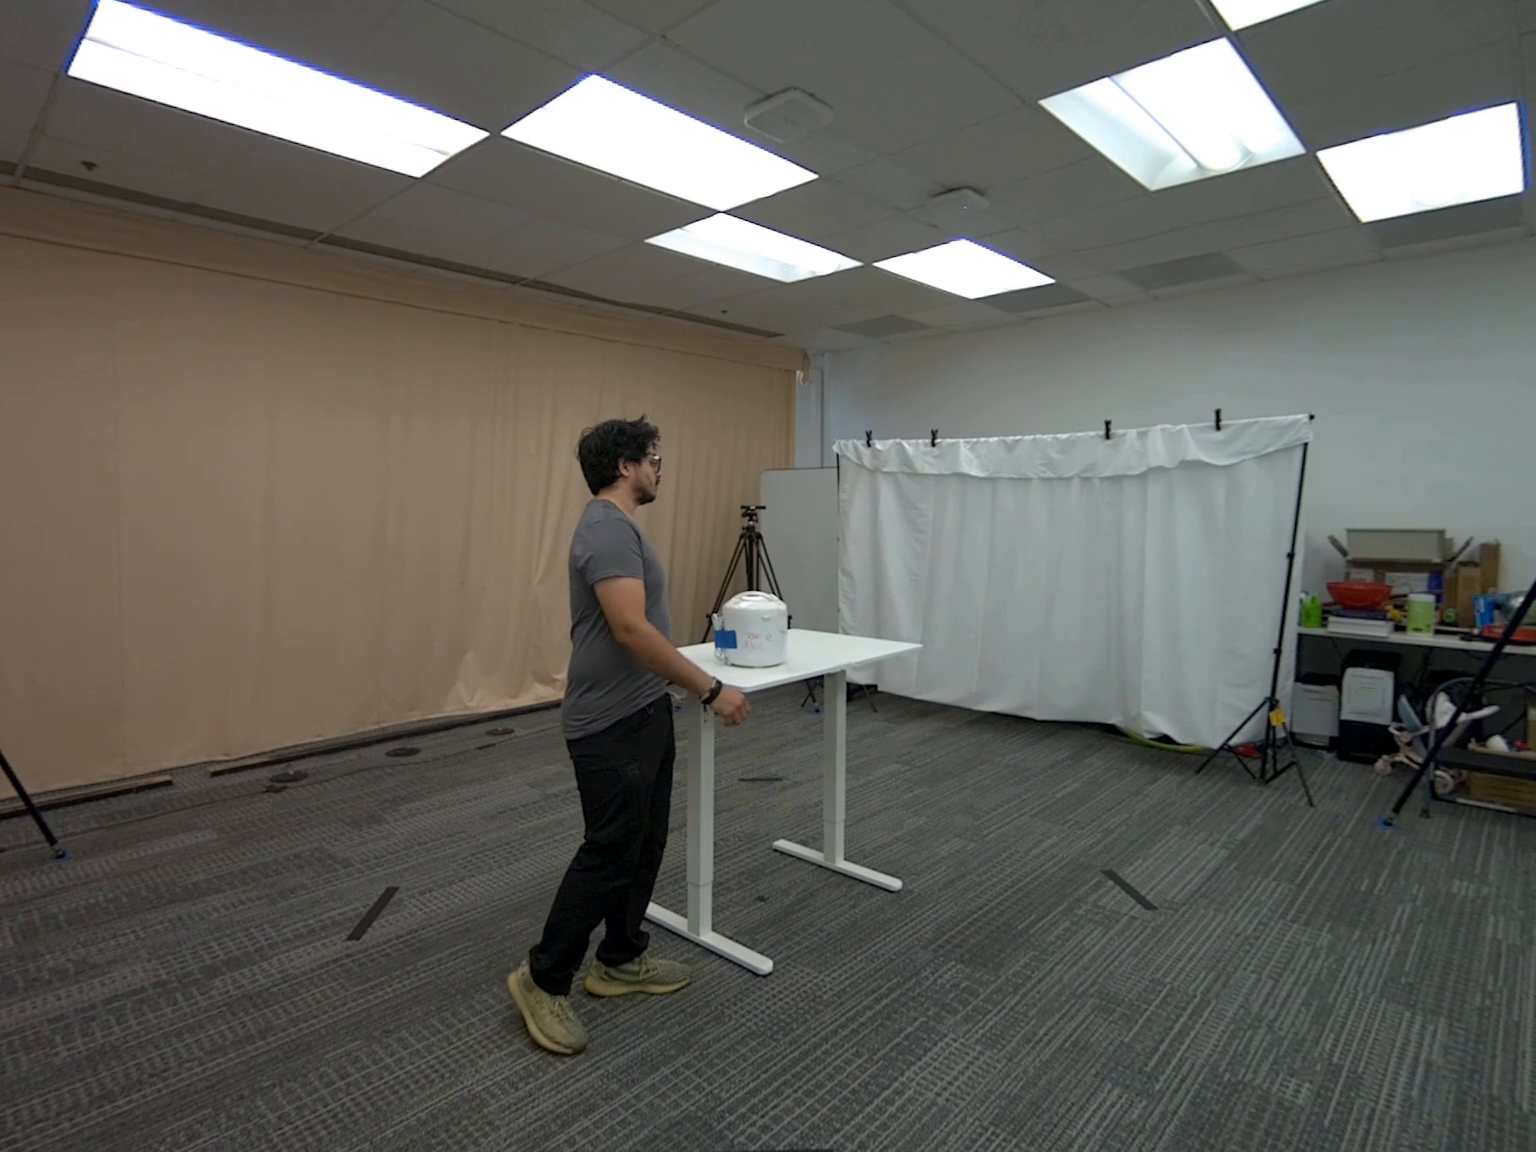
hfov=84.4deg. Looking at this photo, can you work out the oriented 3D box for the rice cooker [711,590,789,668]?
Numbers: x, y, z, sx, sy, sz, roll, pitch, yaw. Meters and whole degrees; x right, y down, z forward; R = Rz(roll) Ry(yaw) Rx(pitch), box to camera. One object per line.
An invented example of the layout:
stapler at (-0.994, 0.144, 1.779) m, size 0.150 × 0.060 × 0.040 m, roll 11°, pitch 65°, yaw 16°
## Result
rice cooker at (-0.042, 0.167, 2.715) m, size 0.227 × 0.232 × 0.211 m, roll 3°, pitch 5°, yaw 32°
